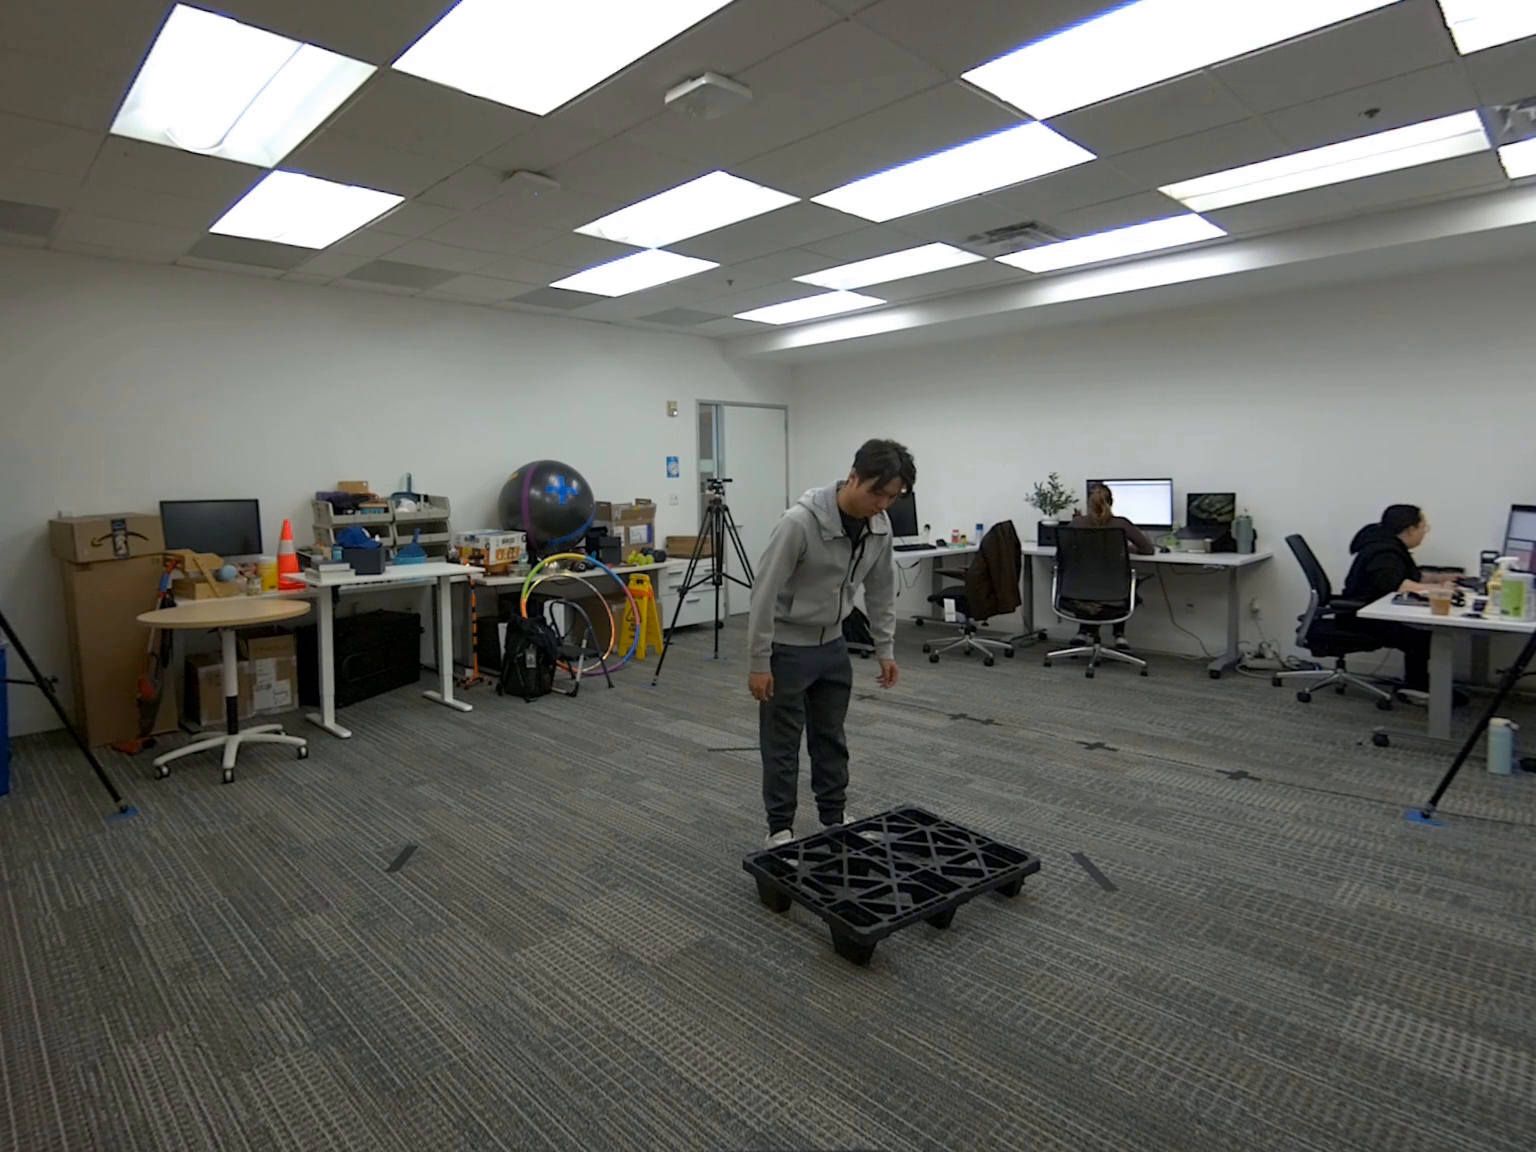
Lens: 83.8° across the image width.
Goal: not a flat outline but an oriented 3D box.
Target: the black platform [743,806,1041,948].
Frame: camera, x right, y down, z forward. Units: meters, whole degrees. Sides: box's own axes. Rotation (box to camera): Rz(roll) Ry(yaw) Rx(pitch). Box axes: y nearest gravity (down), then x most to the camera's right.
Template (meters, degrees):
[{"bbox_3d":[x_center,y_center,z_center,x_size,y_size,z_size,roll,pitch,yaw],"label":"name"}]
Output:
[{"bbox_3d":[0.407,1.005,2.828,0.785,0.143,0.623,-5,7,-35],"label":"black platform"}]
